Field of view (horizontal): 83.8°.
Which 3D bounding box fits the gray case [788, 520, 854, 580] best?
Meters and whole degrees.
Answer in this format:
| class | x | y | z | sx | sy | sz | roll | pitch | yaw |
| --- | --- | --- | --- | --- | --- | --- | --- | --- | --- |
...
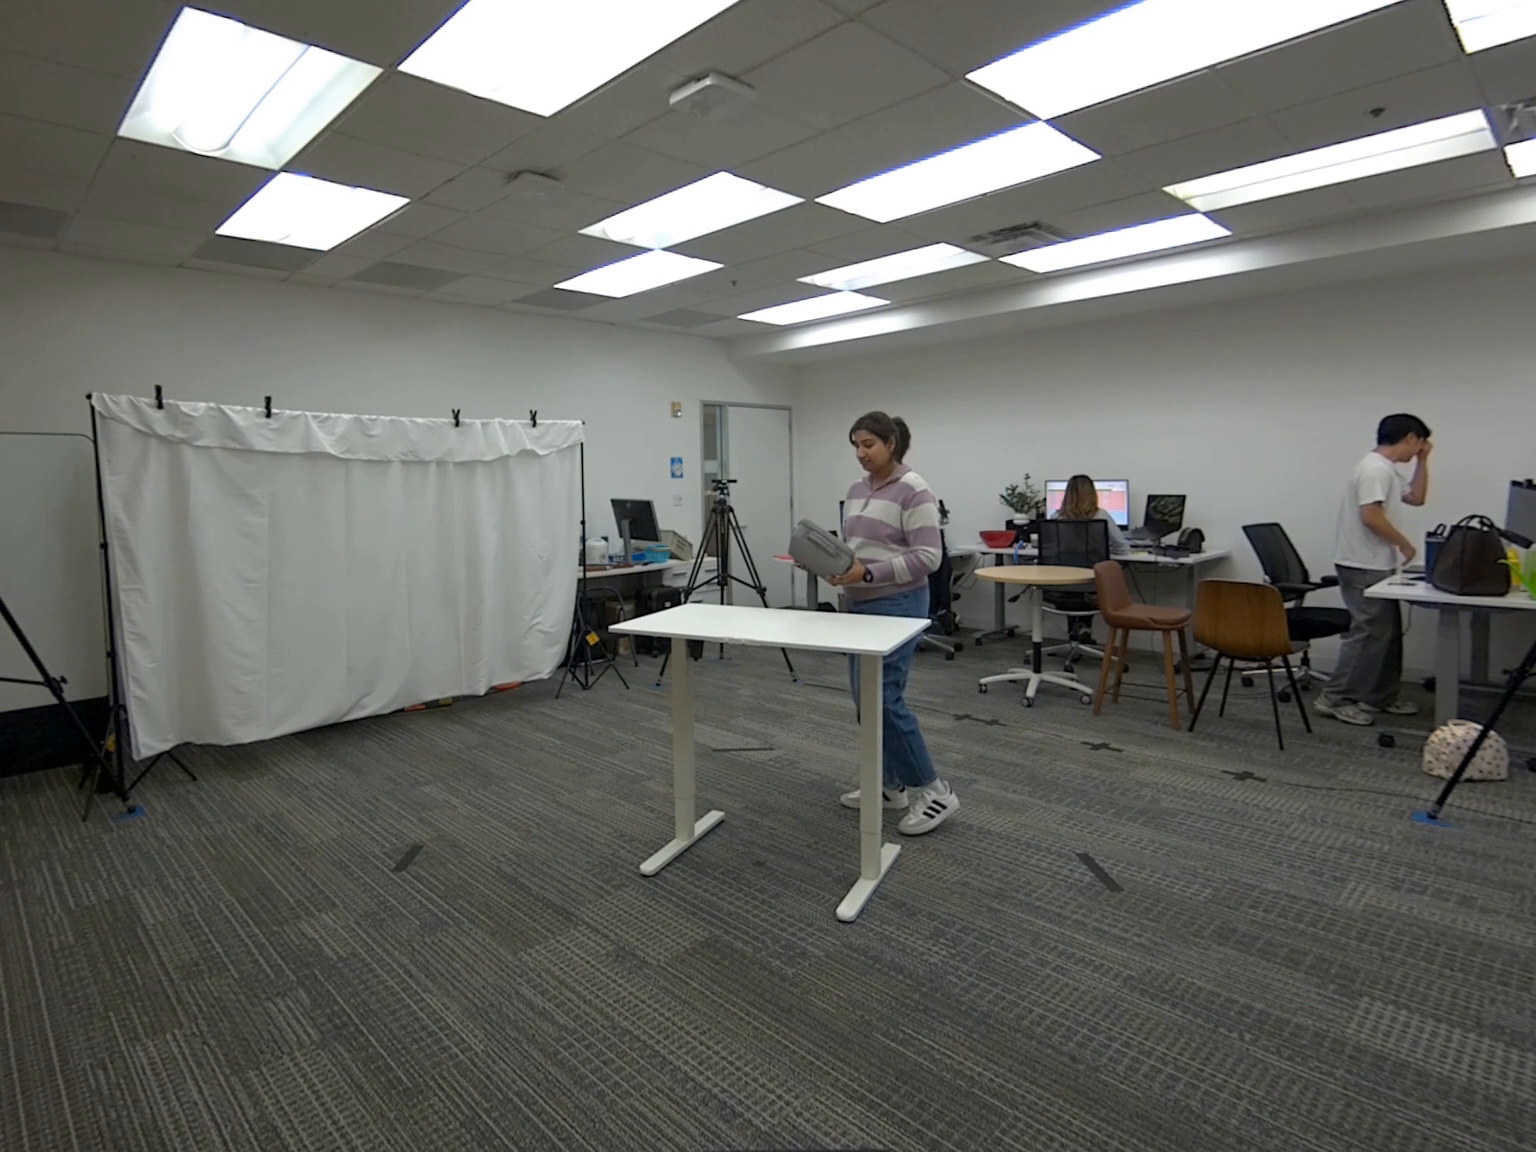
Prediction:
| class | x | y | z | sx | sy | sz | roll | pitch | yaw |
| --- | --- | --- | --- | --- | --- | --- | --- | --- | --- |
| gray case | 0.209 | -0.095 | 3.355 | 0.261 | 0.104 | 0.256 | 37 | -16 | 11 |
